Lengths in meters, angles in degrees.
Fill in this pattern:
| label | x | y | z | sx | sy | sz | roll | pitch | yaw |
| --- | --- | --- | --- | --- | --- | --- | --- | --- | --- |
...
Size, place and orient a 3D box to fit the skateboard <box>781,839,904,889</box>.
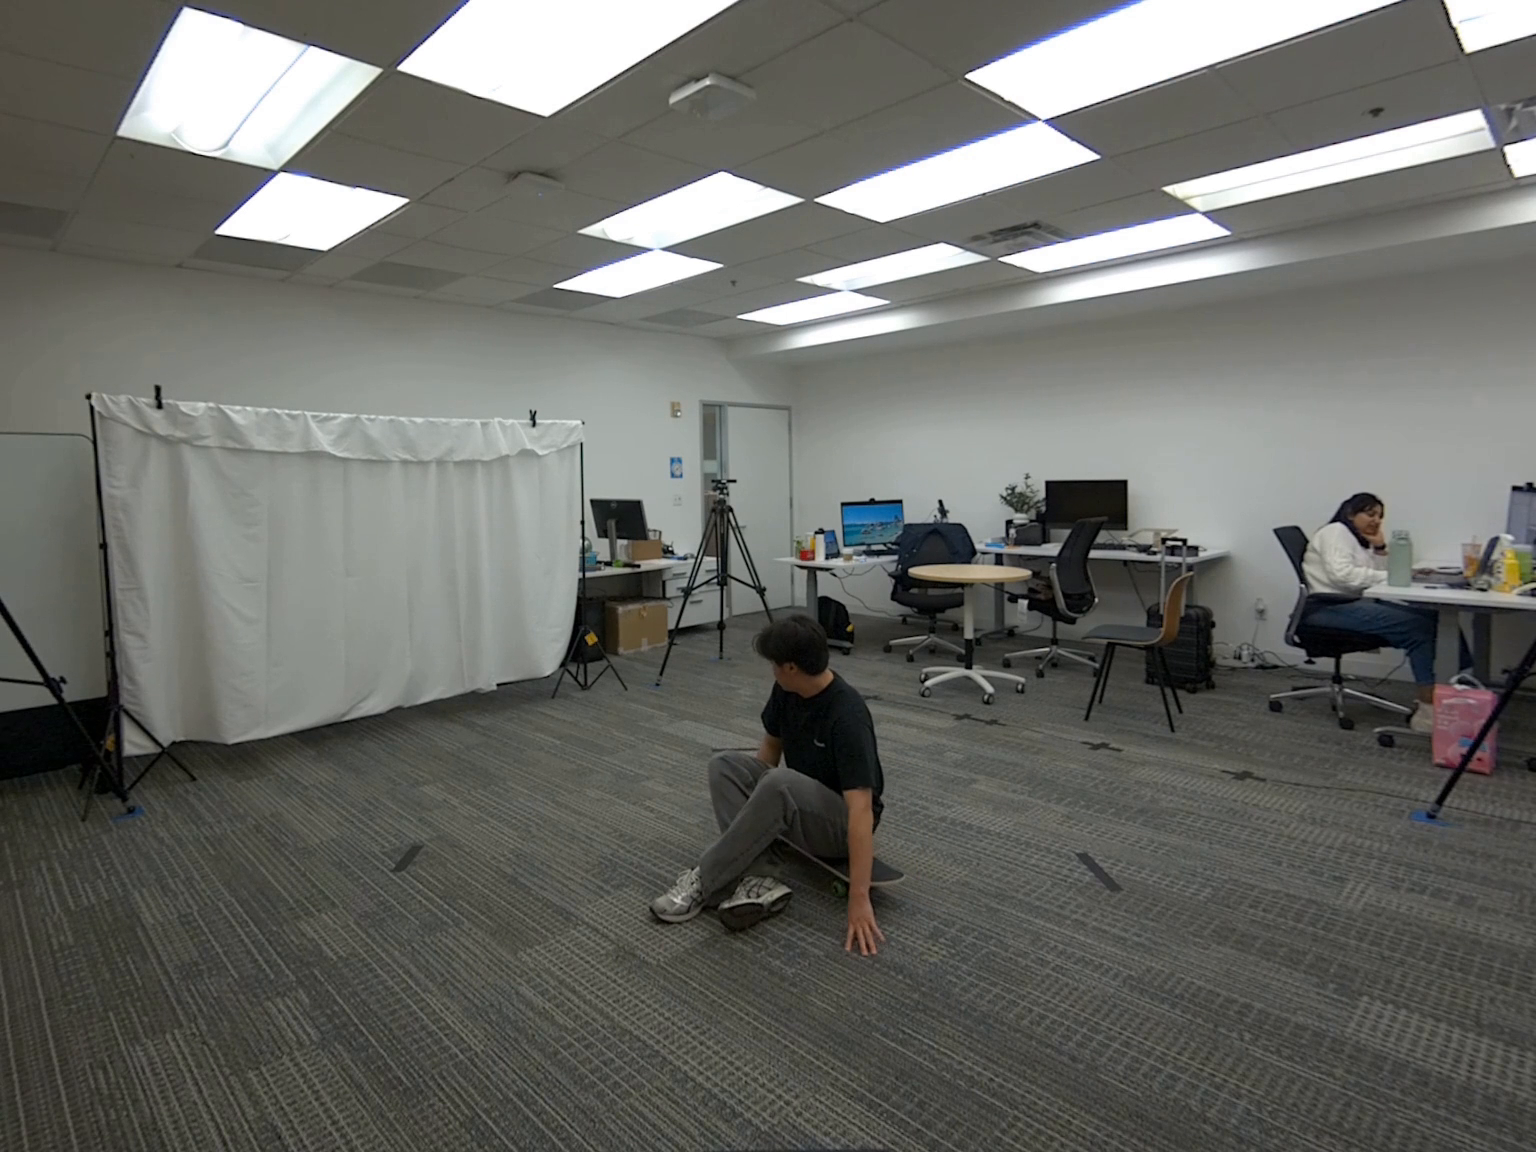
| label | x | y | z | sx | sy | sz | roll | pitch | yaw |
| --- | --- | --- | --- | --- | --- | --- | --- | --- | --- |
| skateboard | 0.201 | 0.996 | 3.057 | 0.188 | 0.110 | 0.807 | 1 | 5 | -31 |
